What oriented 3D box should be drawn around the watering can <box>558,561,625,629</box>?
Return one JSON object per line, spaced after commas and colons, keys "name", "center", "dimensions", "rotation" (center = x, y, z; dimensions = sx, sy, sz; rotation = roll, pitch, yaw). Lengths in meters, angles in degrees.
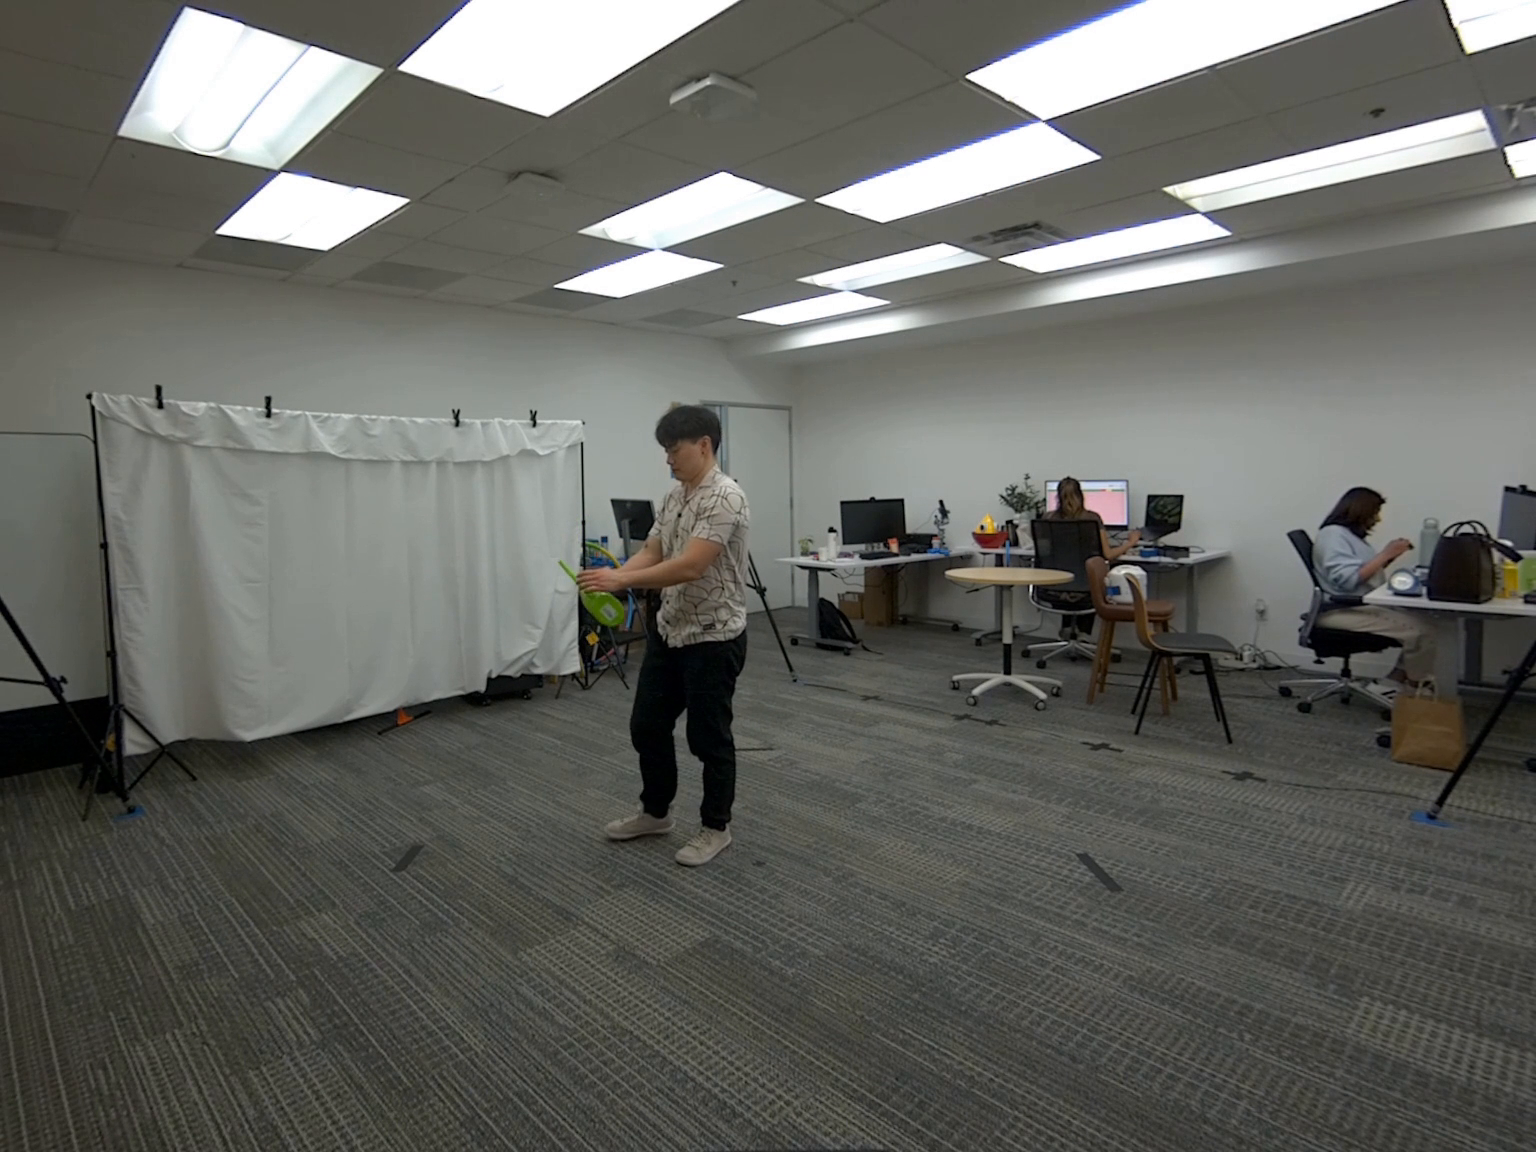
{"name": "watering can", "center": [-0.611, 0.075, 2.958], "dimensions": [0.269, 0.098, 0.183], "rotation": [36, -3, -30]}
